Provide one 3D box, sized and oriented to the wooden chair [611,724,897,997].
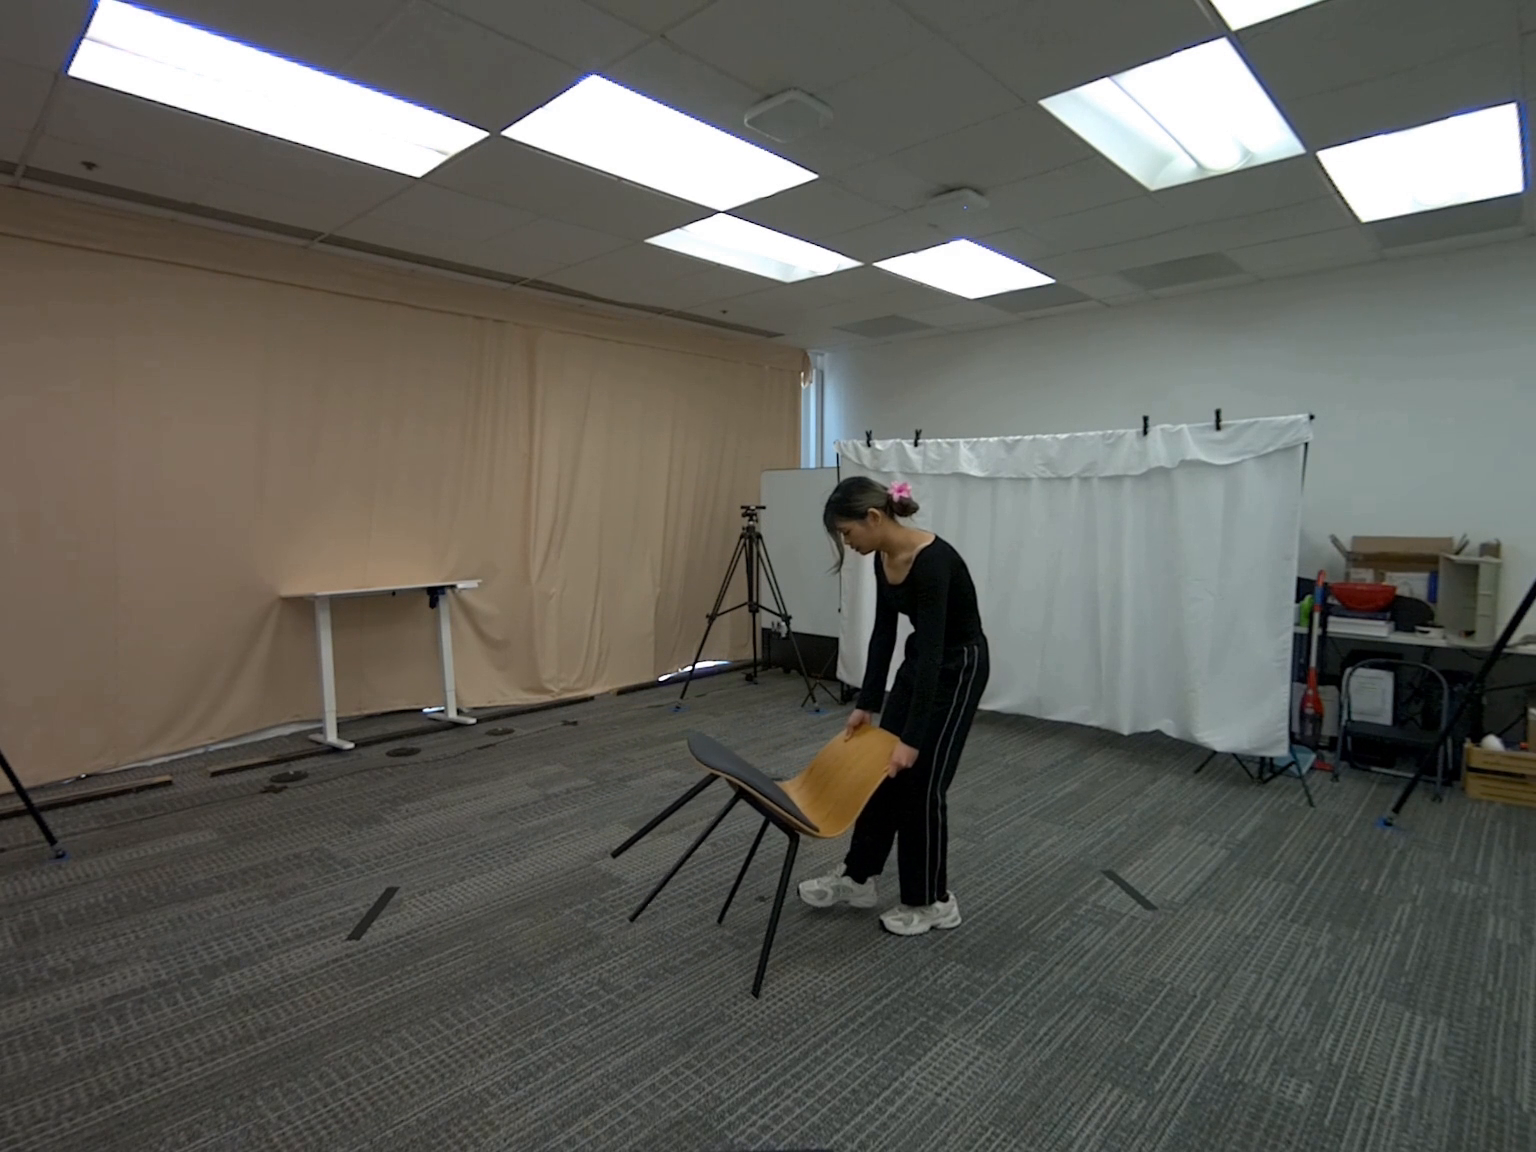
[{"bbox_3d":[-0.031,0.700,2.572,0.515,0.876,0.486,41,-6,-13],"label":"wooden chair"}]
